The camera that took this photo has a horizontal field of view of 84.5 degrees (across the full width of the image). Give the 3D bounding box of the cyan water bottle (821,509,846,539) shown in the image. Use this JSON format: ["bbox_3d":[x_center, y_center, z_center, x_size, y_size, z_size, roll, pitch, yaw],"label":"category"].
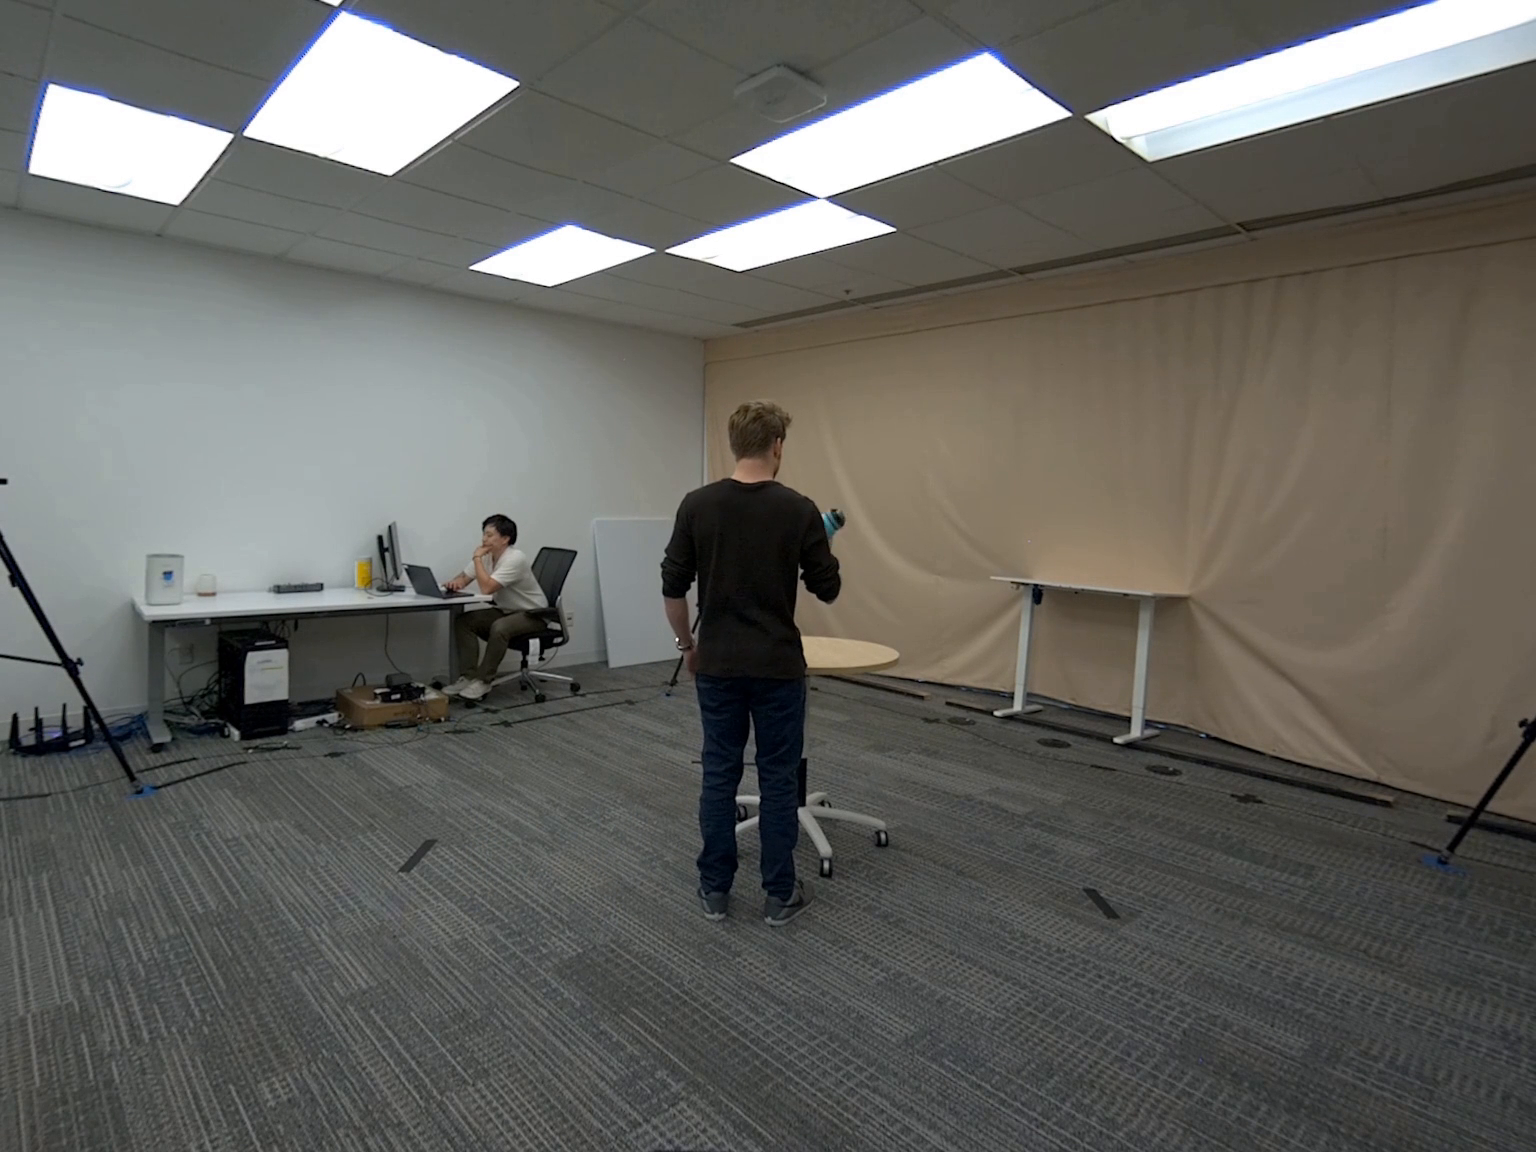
[{"bbox_3d":[0.153,-0.143,3.093,0.284,0.092,0.092,-36,-1,8],"label":"cyan water bottle"}]
